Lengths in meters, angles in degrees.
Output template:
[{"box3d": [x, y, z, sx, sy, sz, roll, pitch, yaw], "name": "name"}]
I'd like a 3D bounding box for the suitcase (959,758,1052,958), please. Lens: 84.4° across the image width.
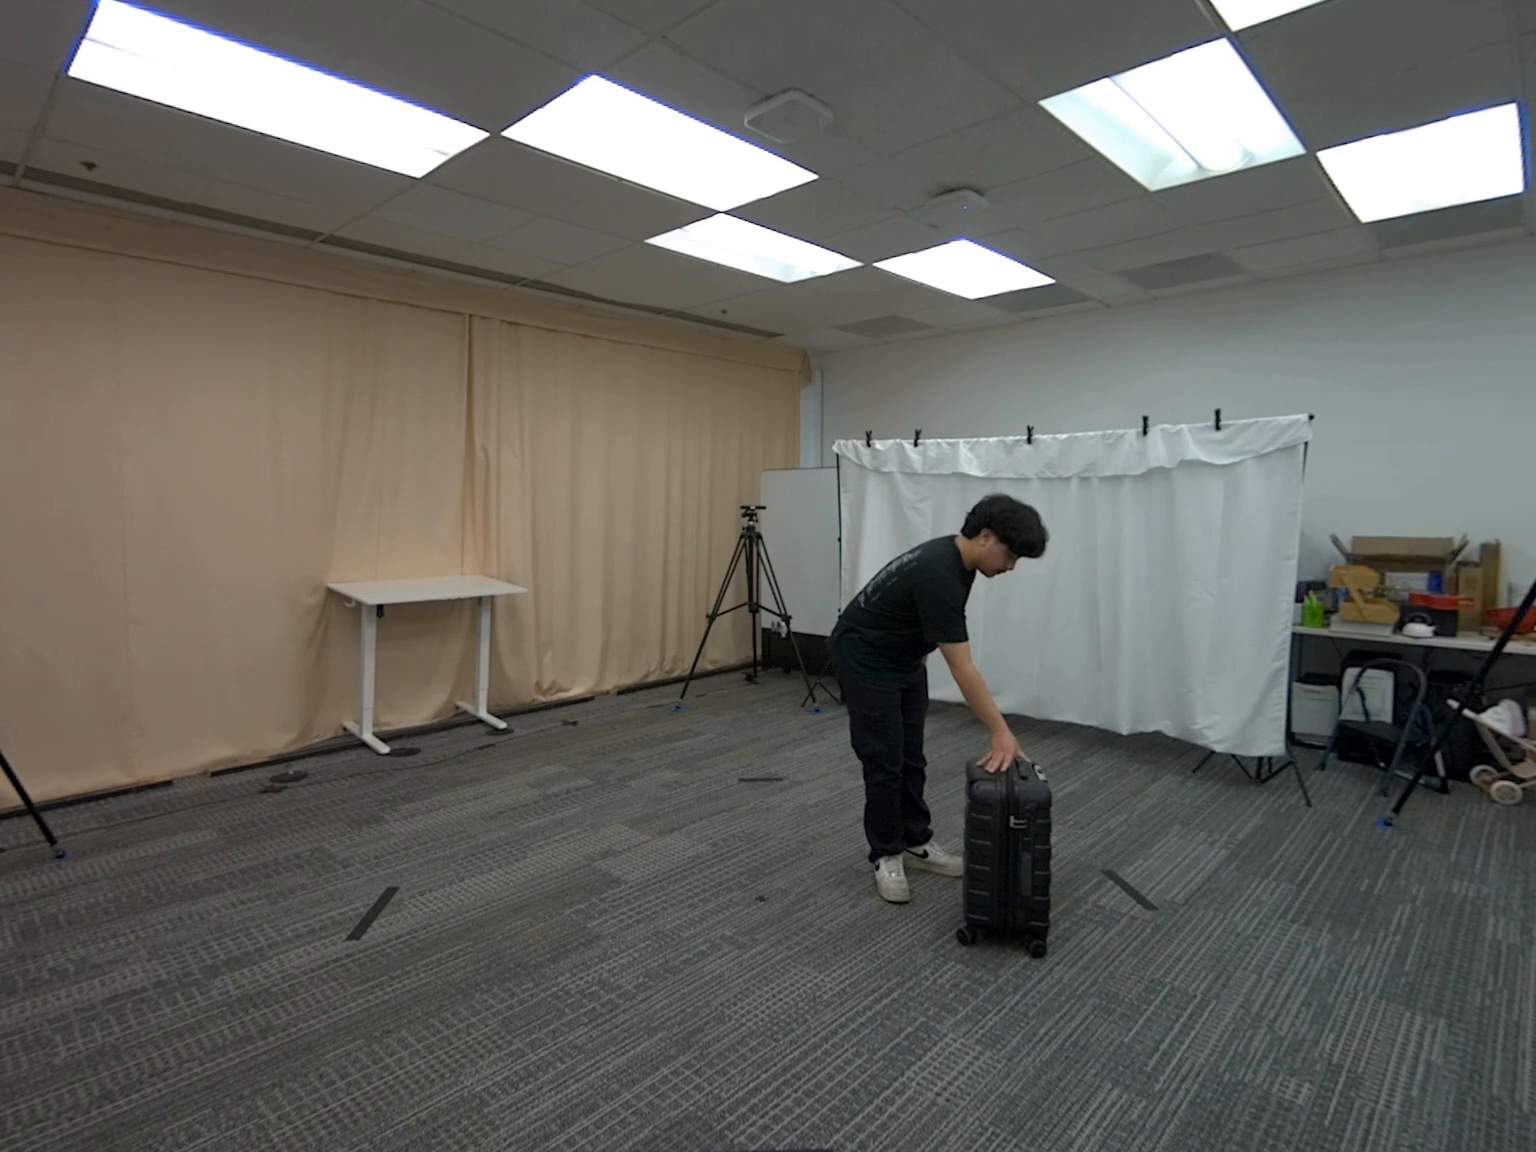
[{"box3d": [0.787, 0.885, 2.752, 0.252, 0.548, 0.371, 0, 4, 12], "name": "suitcase"}]
